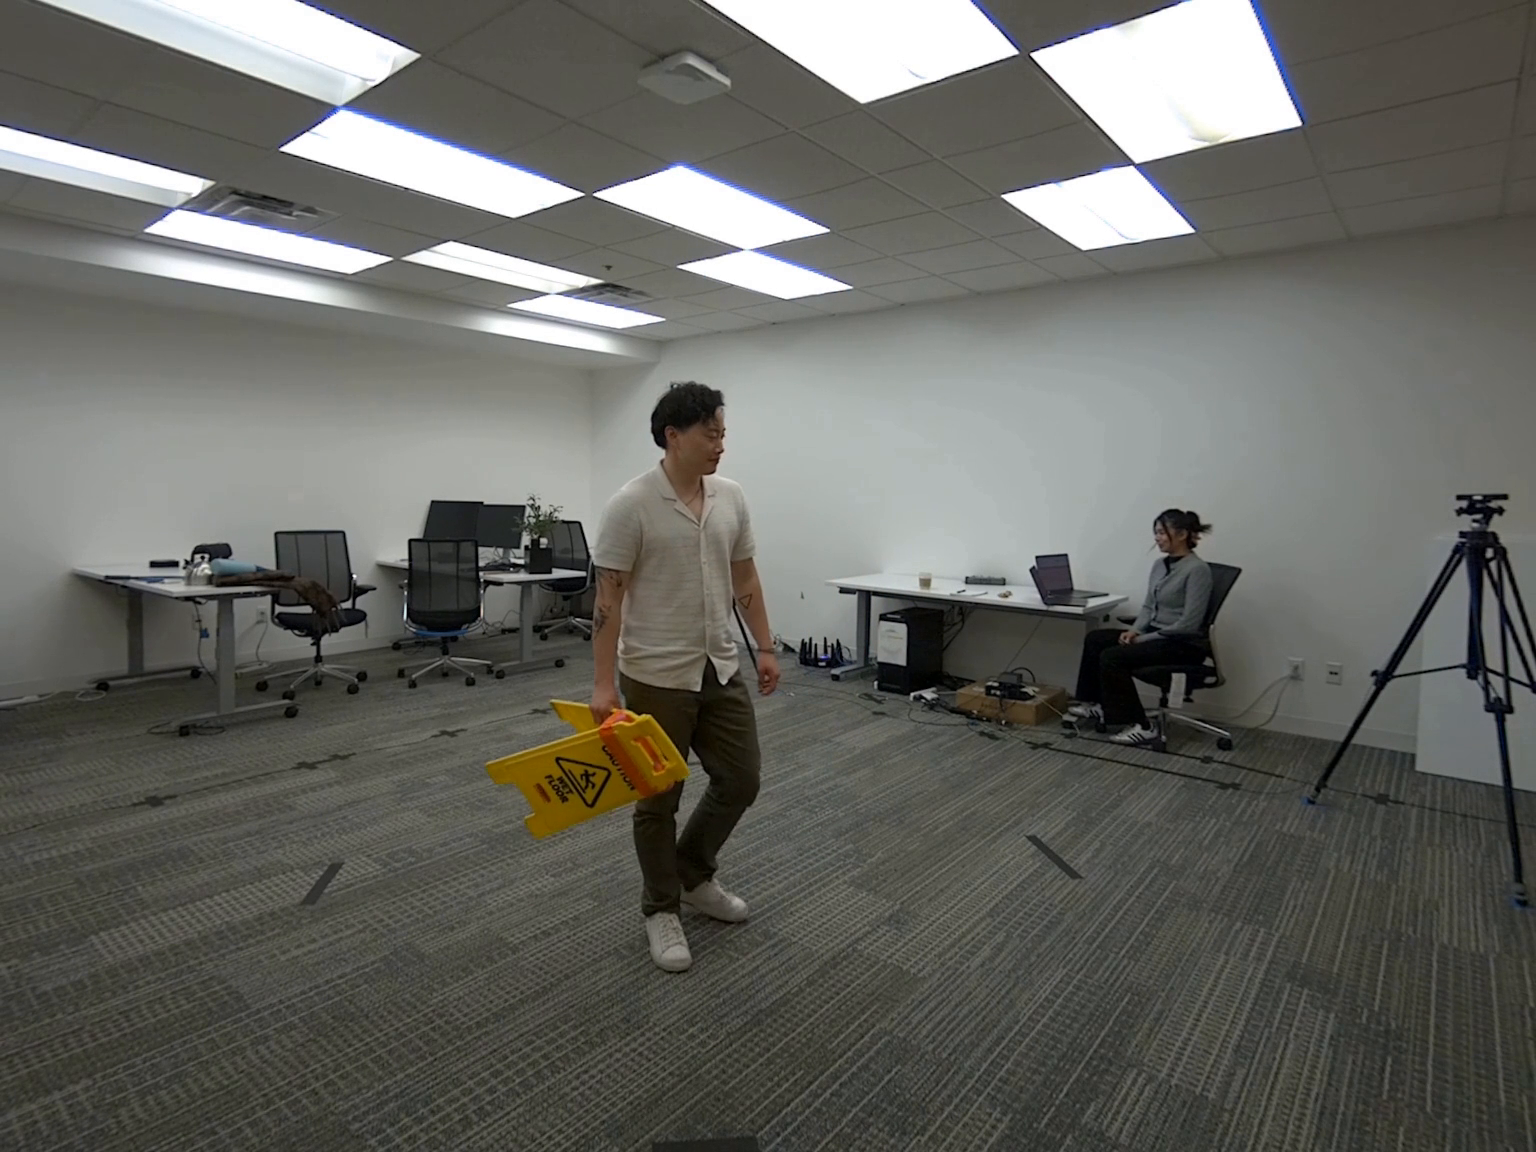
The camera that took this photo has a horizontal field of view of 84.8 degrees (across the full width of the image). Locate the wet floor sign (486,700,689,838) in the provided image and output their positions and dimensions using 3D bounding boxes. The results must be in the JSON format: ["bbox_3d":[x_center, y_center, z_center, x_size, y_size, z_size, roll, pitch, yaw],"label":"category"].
[{"bbox_3d":[-0.482,0.508,2.416,0.658,0.278,0.289,-20,17,44],"label":"wet floor sign"}]
